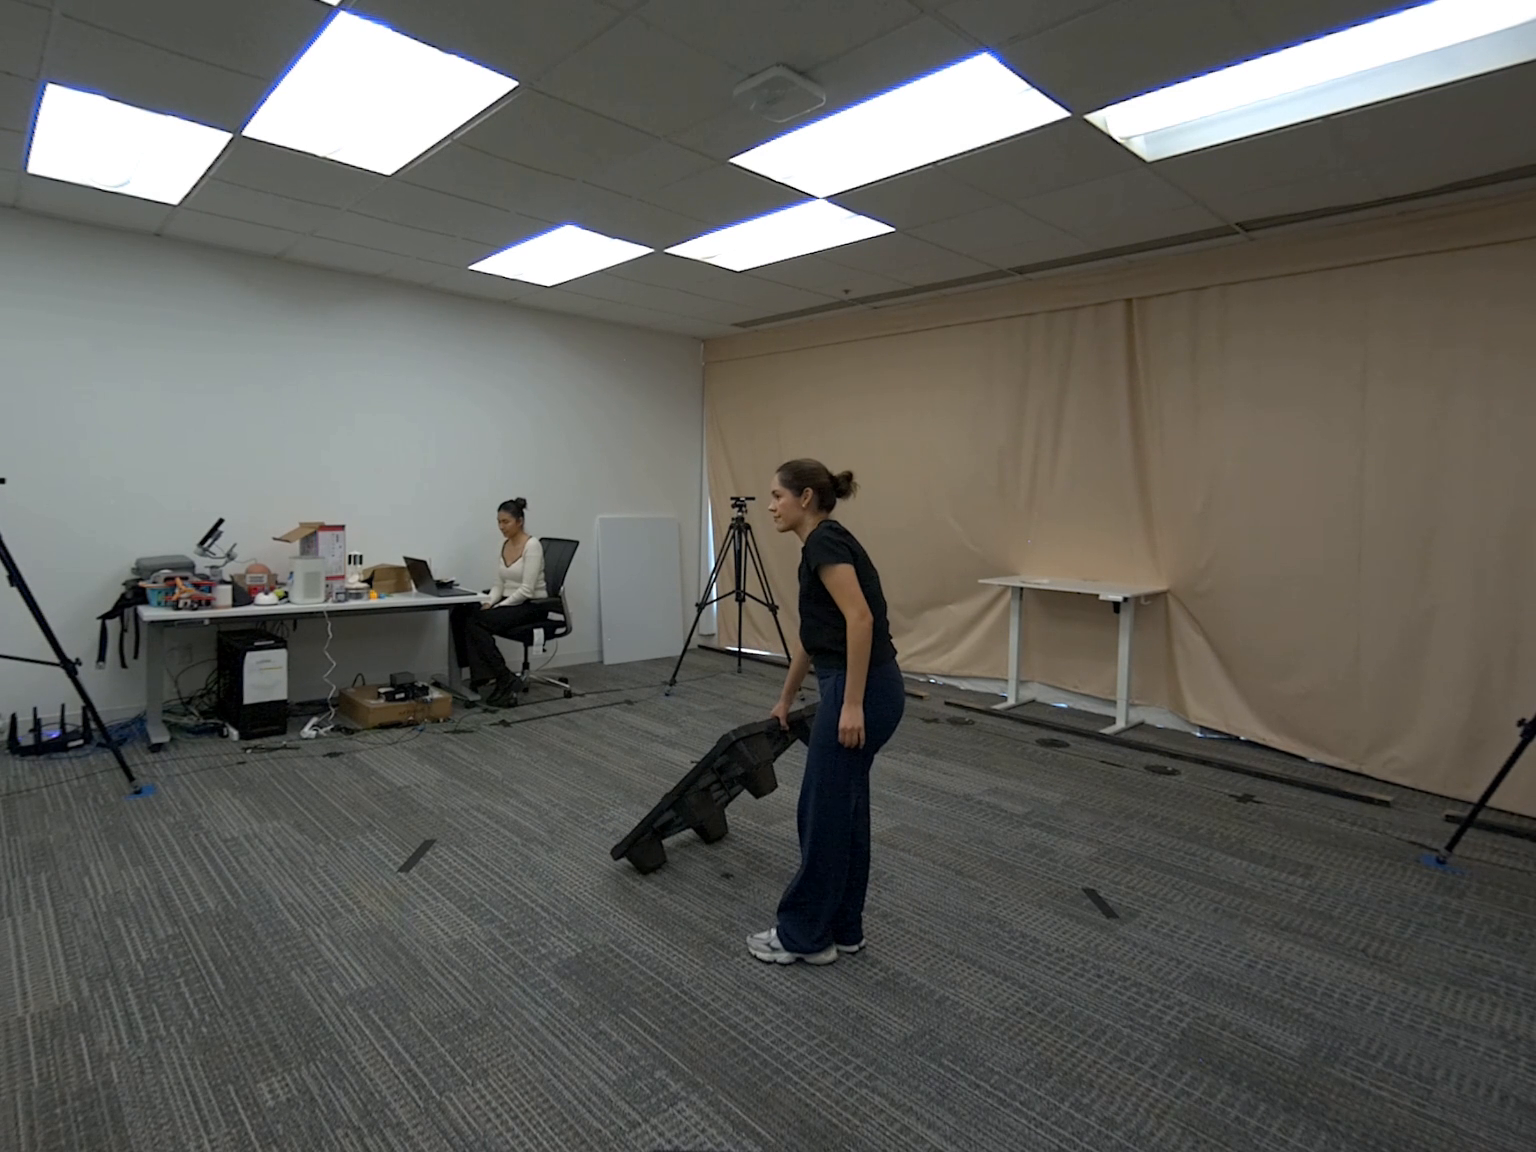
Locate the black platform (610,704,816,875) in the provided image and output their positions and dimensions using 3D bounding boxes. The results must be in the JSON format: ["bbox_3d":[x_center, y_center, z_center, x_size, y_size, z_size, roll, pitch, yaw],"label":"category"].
[{"bbox_3d":[-0.151,0.796,3.105,0.592,0.146,0.804,-7,-36,-53],"label":"black platform"}]
